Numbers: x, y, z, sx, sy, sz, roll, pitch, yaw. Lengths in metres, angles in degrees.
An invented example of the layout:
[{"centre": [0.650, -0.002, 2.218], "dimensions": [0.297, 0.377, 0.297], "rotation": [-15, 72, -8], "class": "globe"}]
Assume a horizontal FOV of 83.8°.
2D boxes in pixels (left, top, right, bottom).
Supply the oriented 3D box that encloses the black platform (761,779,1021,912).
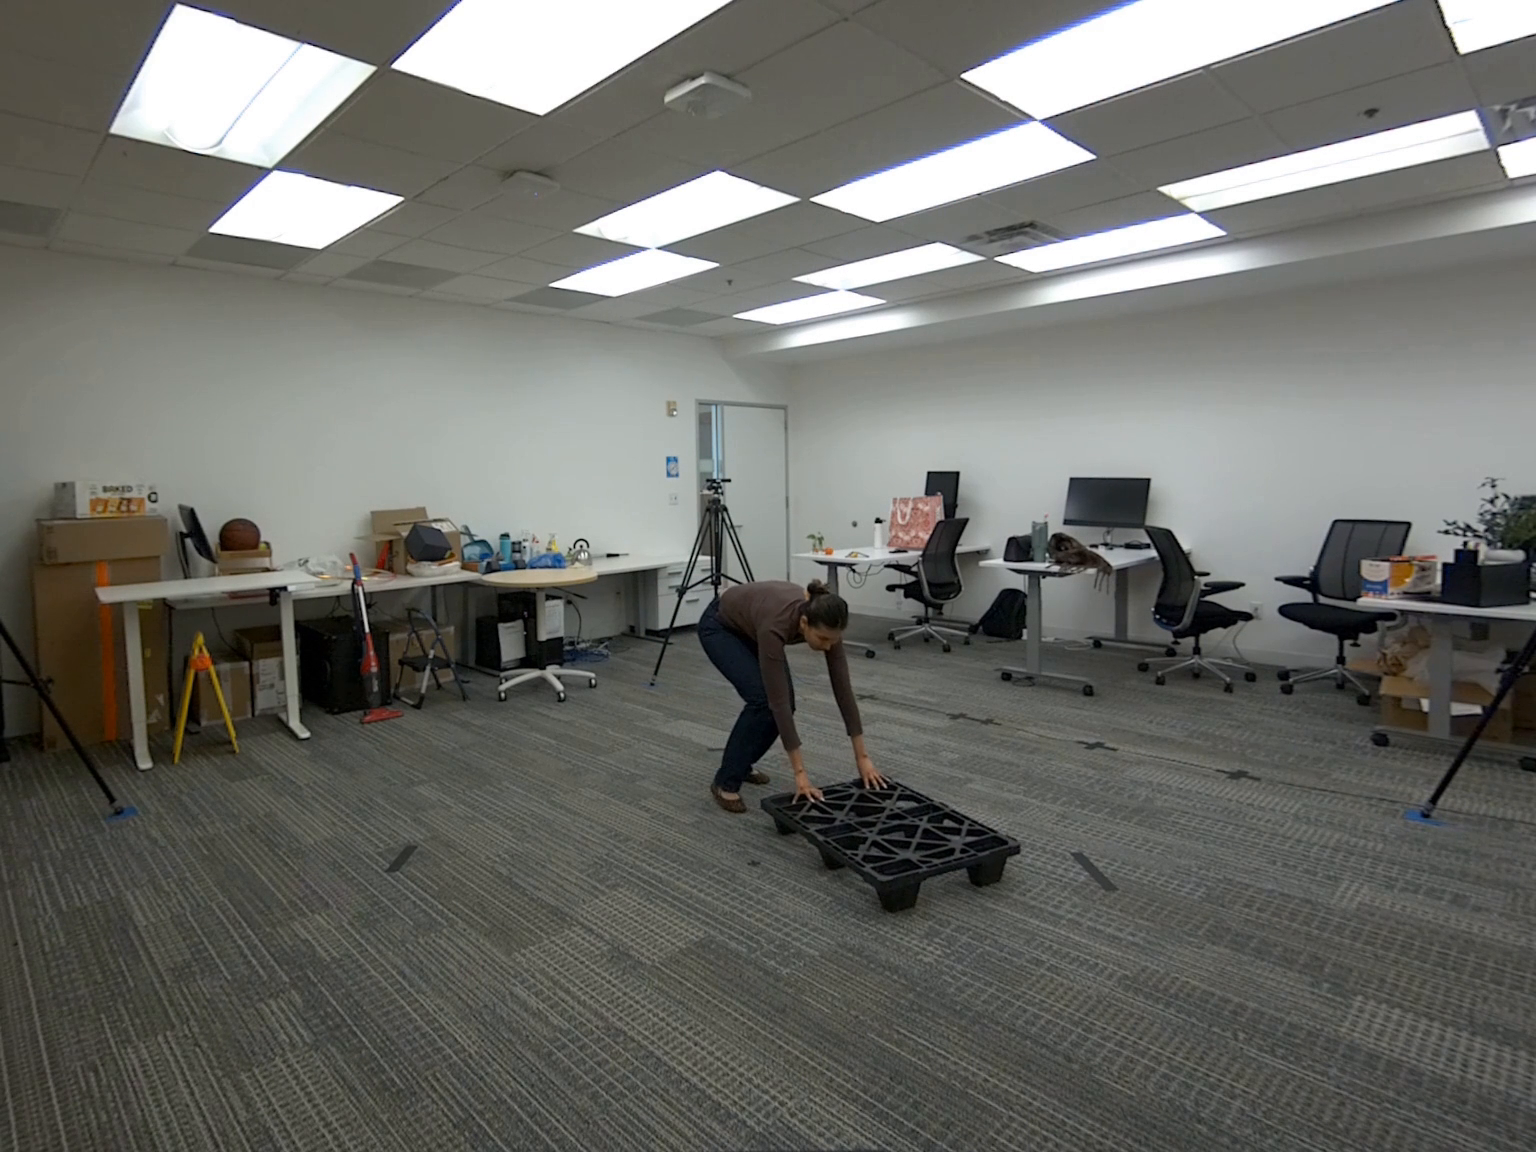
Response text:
[{"centre": [0.424, 0.962, 3.158], "dimensions": [0.592, 0.143, 0.827], "rotation": [-4, 7, -28], "class": "black platform"}]
